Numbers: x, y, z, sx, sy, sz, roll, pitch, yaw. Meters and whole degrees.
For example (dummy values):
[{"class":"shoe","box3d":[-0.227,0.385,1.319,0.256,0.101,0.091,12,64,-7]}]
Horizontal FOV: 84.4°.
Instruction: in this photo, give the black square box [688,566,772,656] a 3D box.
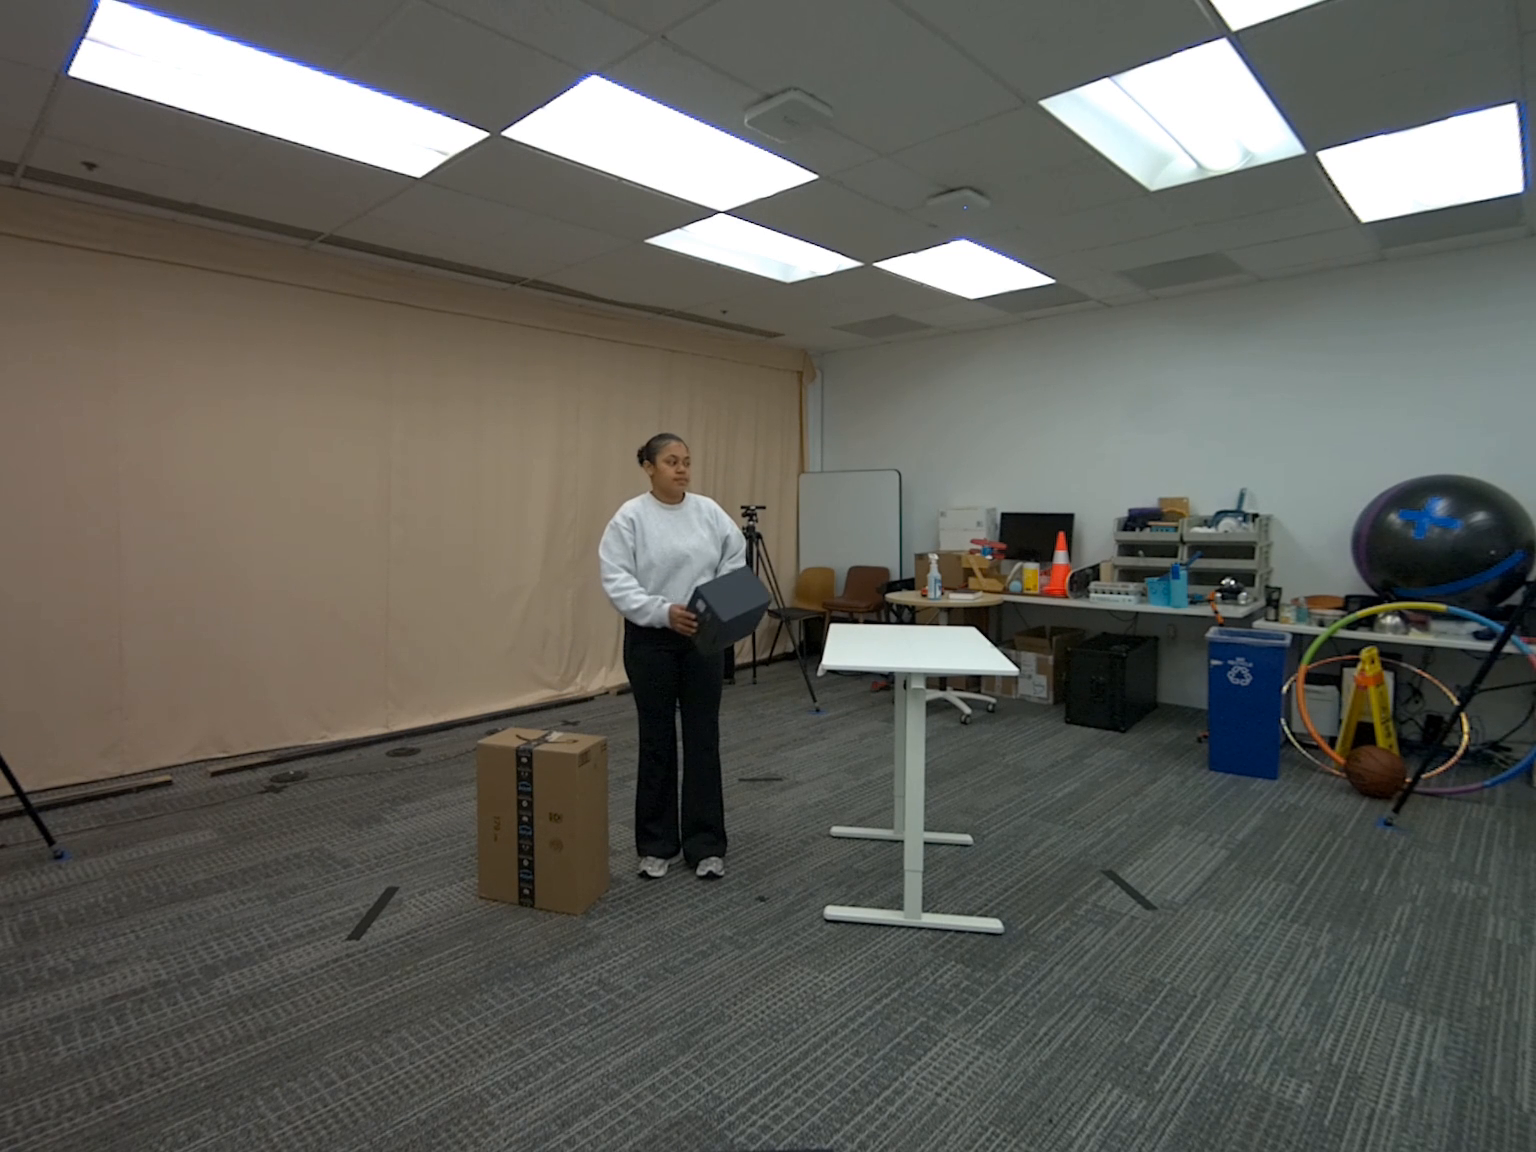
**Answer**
[{"class":"black square box","box3d":[-0.150,0.120,2.850,0.223,0.159,0.216,-24,-25,-37]}]
